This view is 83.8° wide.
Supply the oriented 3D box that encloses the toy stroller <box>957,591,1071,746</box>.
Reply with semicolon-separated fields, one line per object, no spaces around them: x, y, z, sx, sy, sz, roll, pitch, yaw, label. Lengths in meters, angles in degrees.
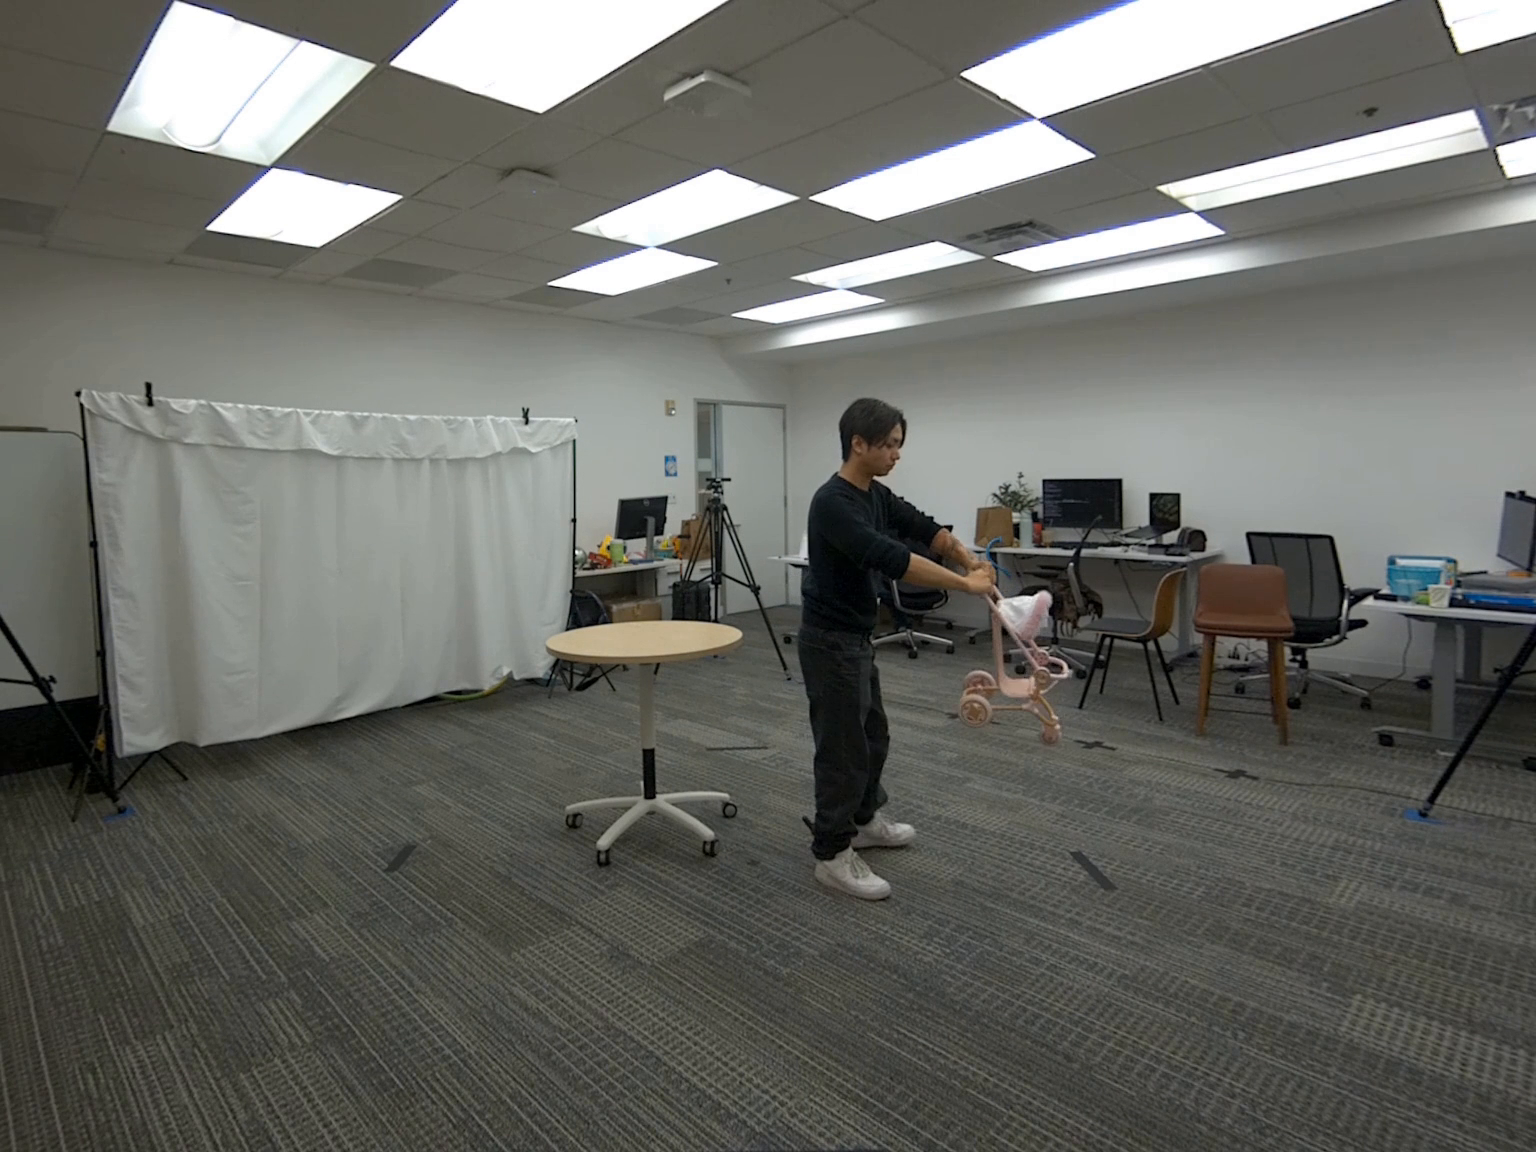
0.808;0.274;2.765;0.350;0.530;0.277;8;11;23;toy stroller
